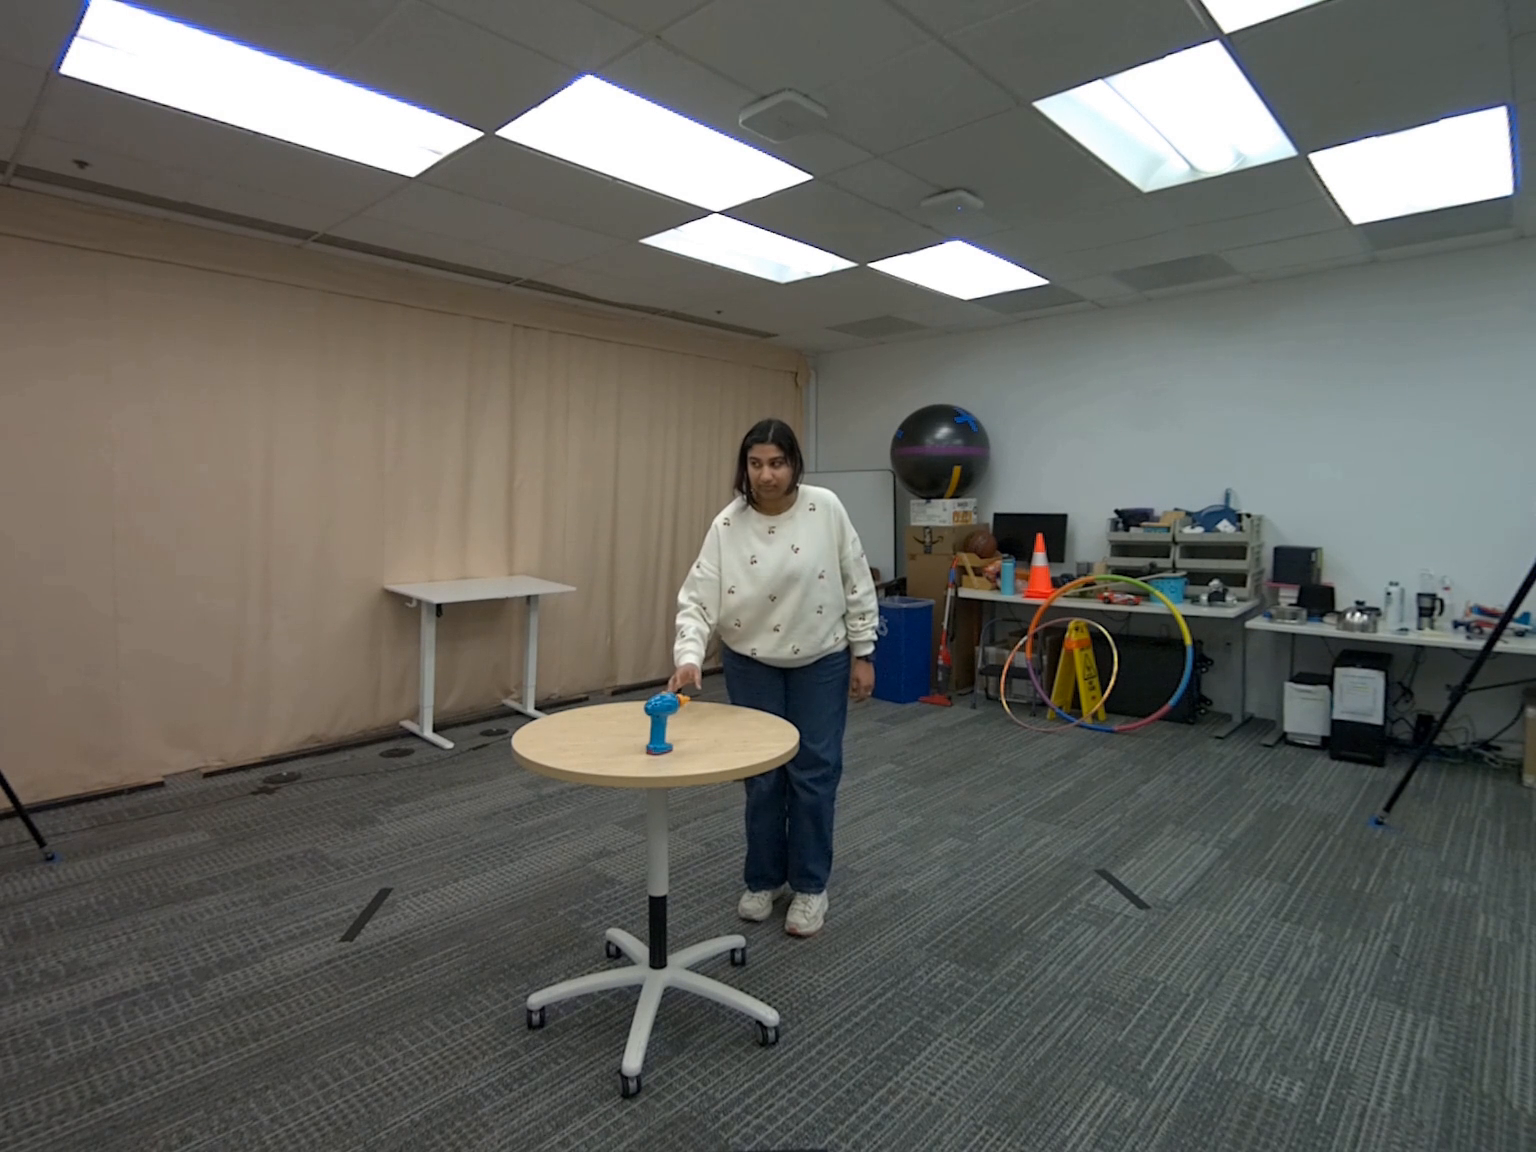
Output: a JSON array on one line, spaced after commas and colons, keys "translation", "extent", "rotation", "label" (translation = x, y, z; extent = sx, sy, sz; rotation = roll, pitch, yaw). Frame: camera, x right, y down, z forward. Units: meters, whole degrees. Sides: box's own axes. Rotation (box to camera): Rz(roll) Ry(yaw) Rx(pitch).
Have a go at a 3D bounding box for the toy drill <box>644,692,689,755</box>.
[{"translation": [-0.253, 0.362, 2.110], "extent": [0.063, 0.146, 0.165], "rotation": [2, 5, 28], "label": "toy drill"}]
